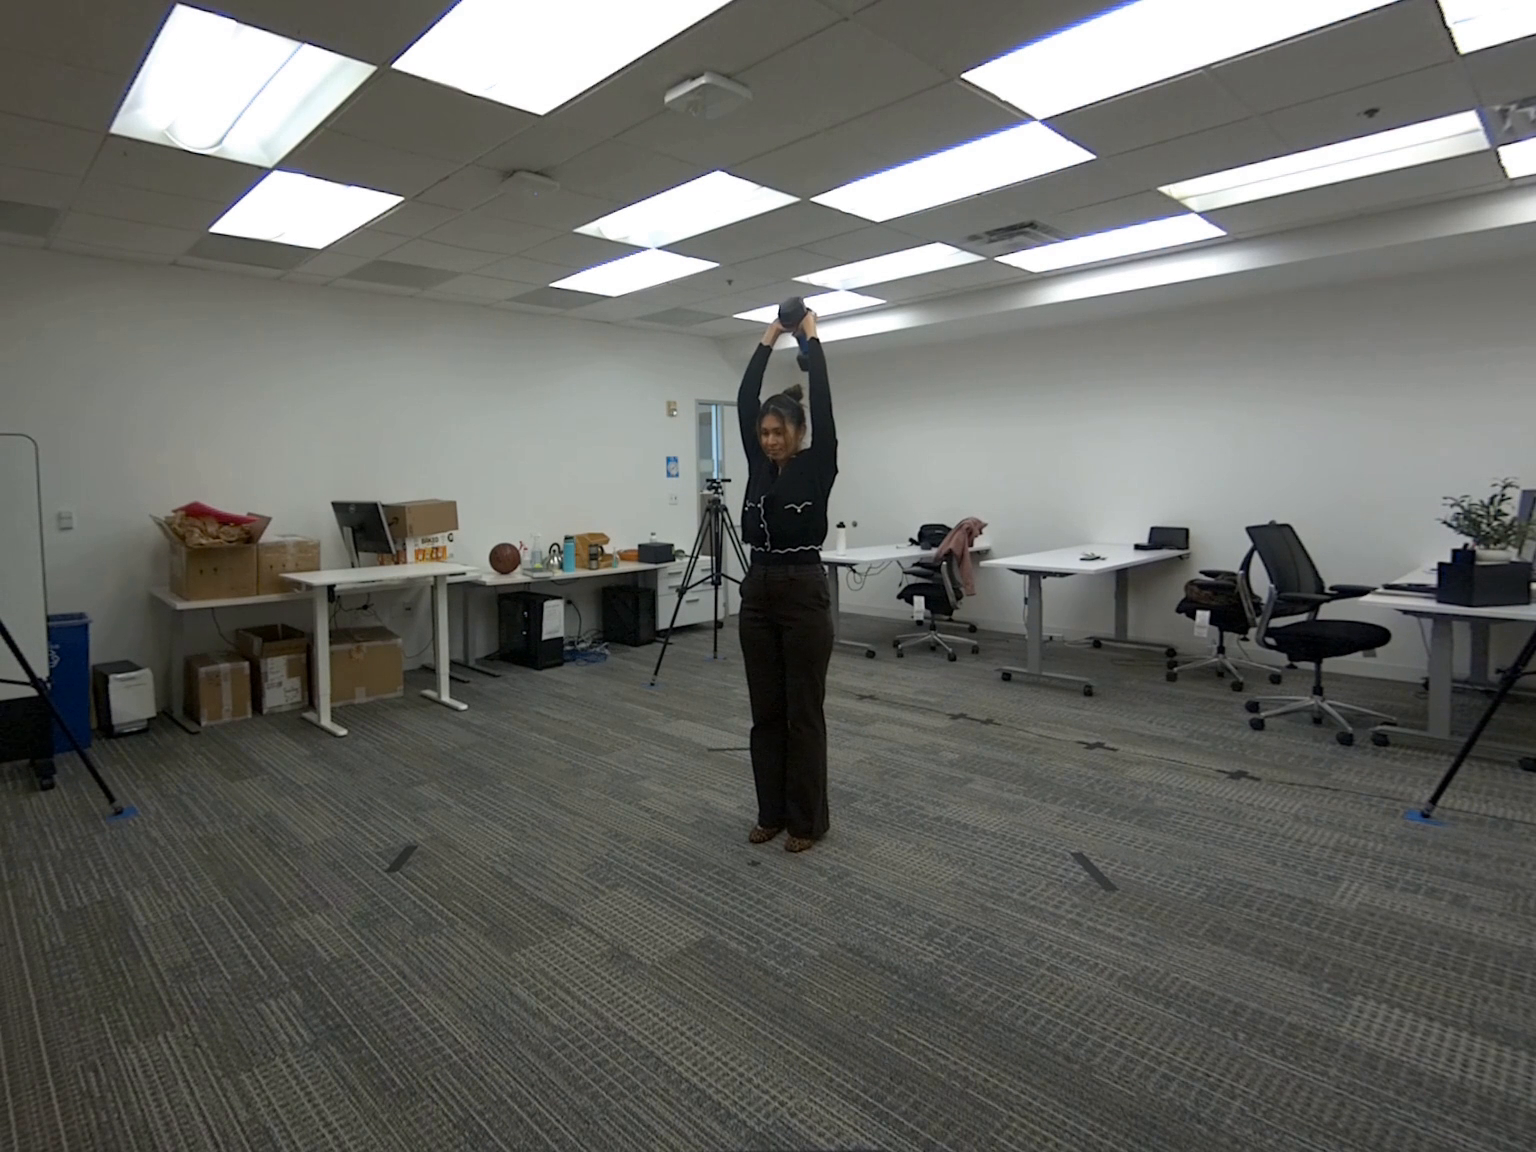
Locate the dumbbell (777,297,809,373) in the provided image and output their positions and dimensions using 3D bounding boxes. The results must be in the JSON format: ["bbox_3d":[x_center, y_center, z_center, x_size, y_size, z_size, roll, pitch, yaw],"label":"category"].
[{"bbox_3d":[0.137,-0.956,3.390,0.110,0.283,0.125,-14,37,22],"label":"dumbbell"}]
